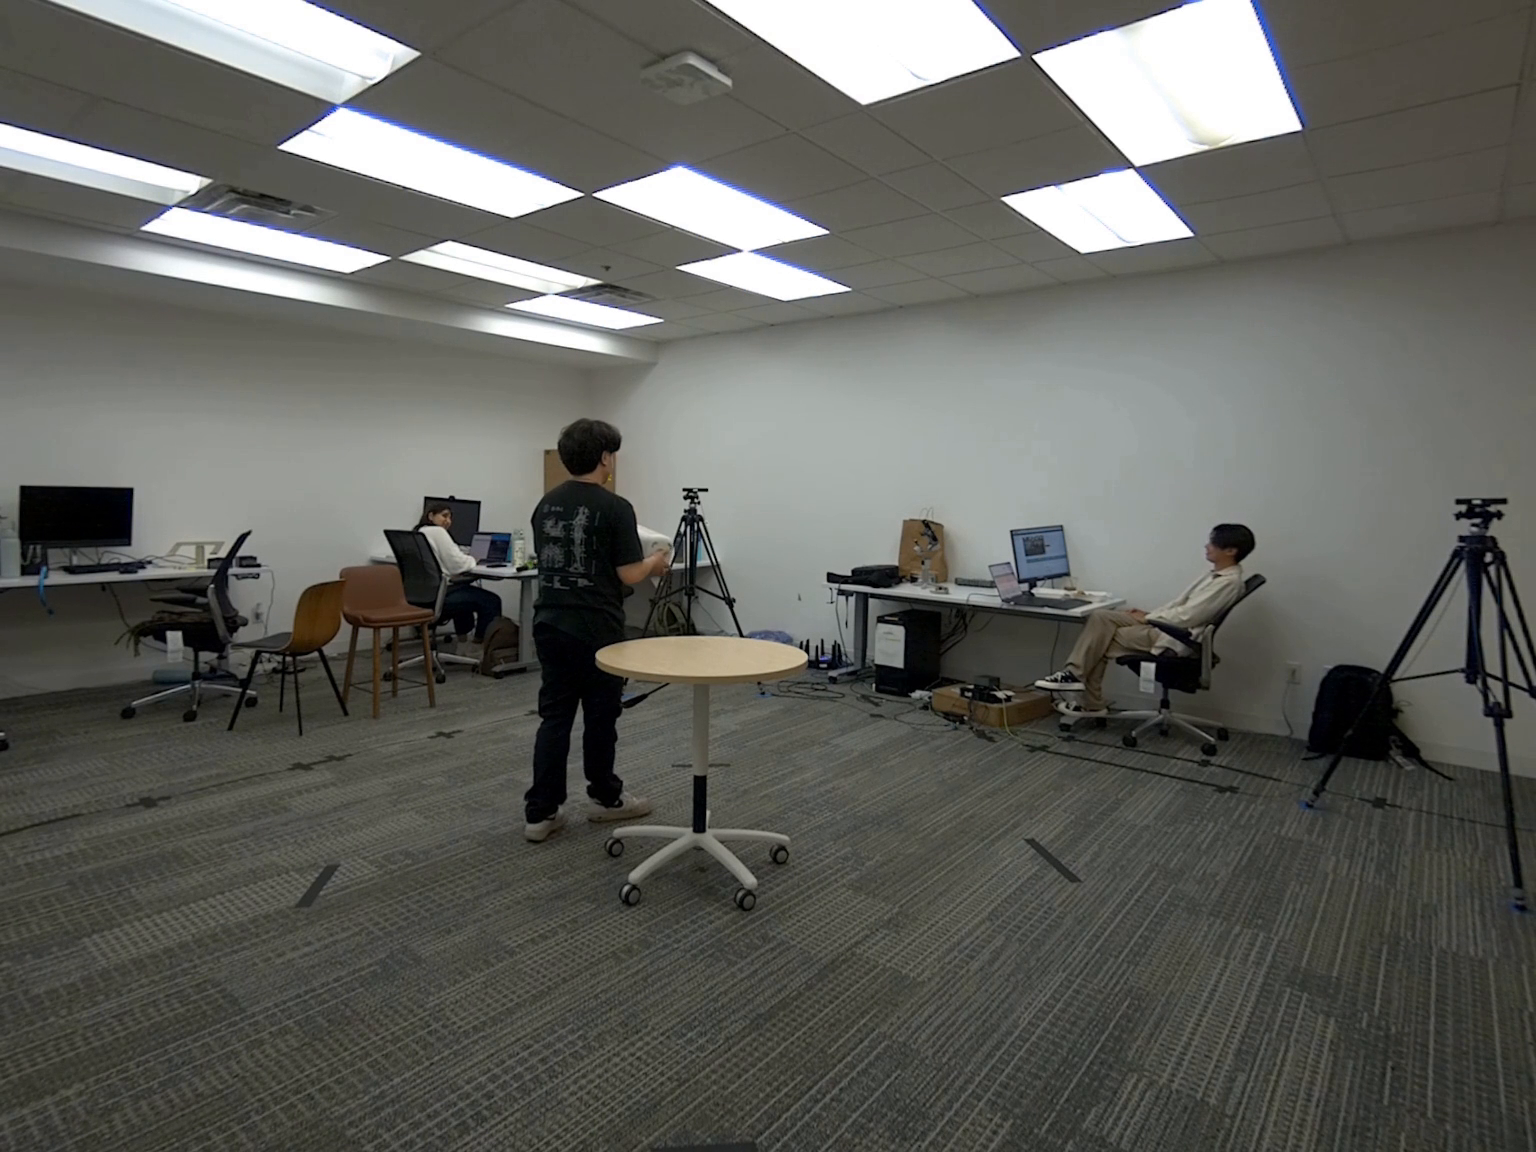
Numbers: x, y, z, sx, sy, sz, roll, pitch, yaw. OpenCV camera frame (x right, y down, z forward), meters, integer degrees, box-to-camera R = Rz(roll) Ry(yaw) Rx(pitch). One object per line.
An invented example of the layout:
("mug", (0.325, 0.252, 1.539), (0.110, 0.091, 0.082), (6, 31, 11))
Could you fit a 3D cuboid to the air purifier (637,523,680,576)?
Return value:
("air purifier", (-0.569, -0.128, 3.775), (0.276, 0.170, 0.166), (21, 11, 40))
